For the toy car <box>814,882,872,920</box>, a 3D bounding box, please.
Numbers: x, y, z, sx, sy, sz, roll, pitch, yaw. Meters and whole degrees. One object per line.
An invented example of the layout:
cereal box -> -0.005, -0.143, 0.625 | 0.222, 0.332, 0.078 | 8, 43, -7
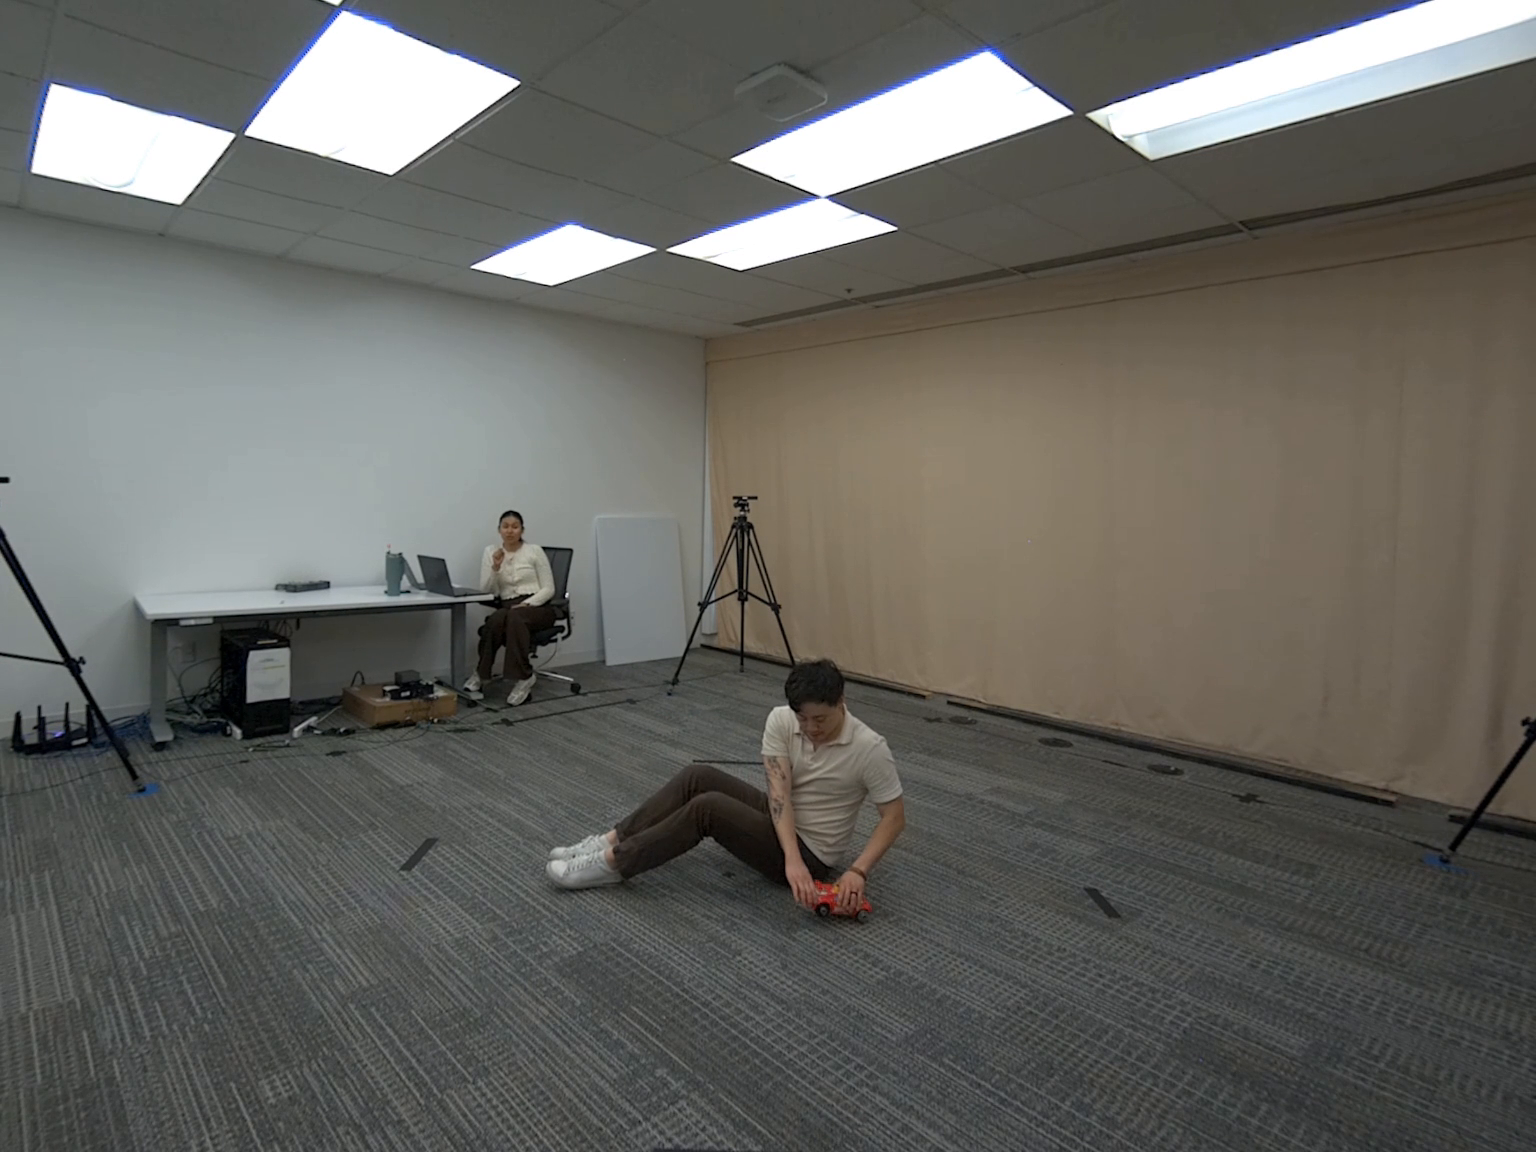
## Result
toy car -> 0.190, 1.072, 2.781 | 0.251, 0.083, 0.132 | 24, 3, -12
